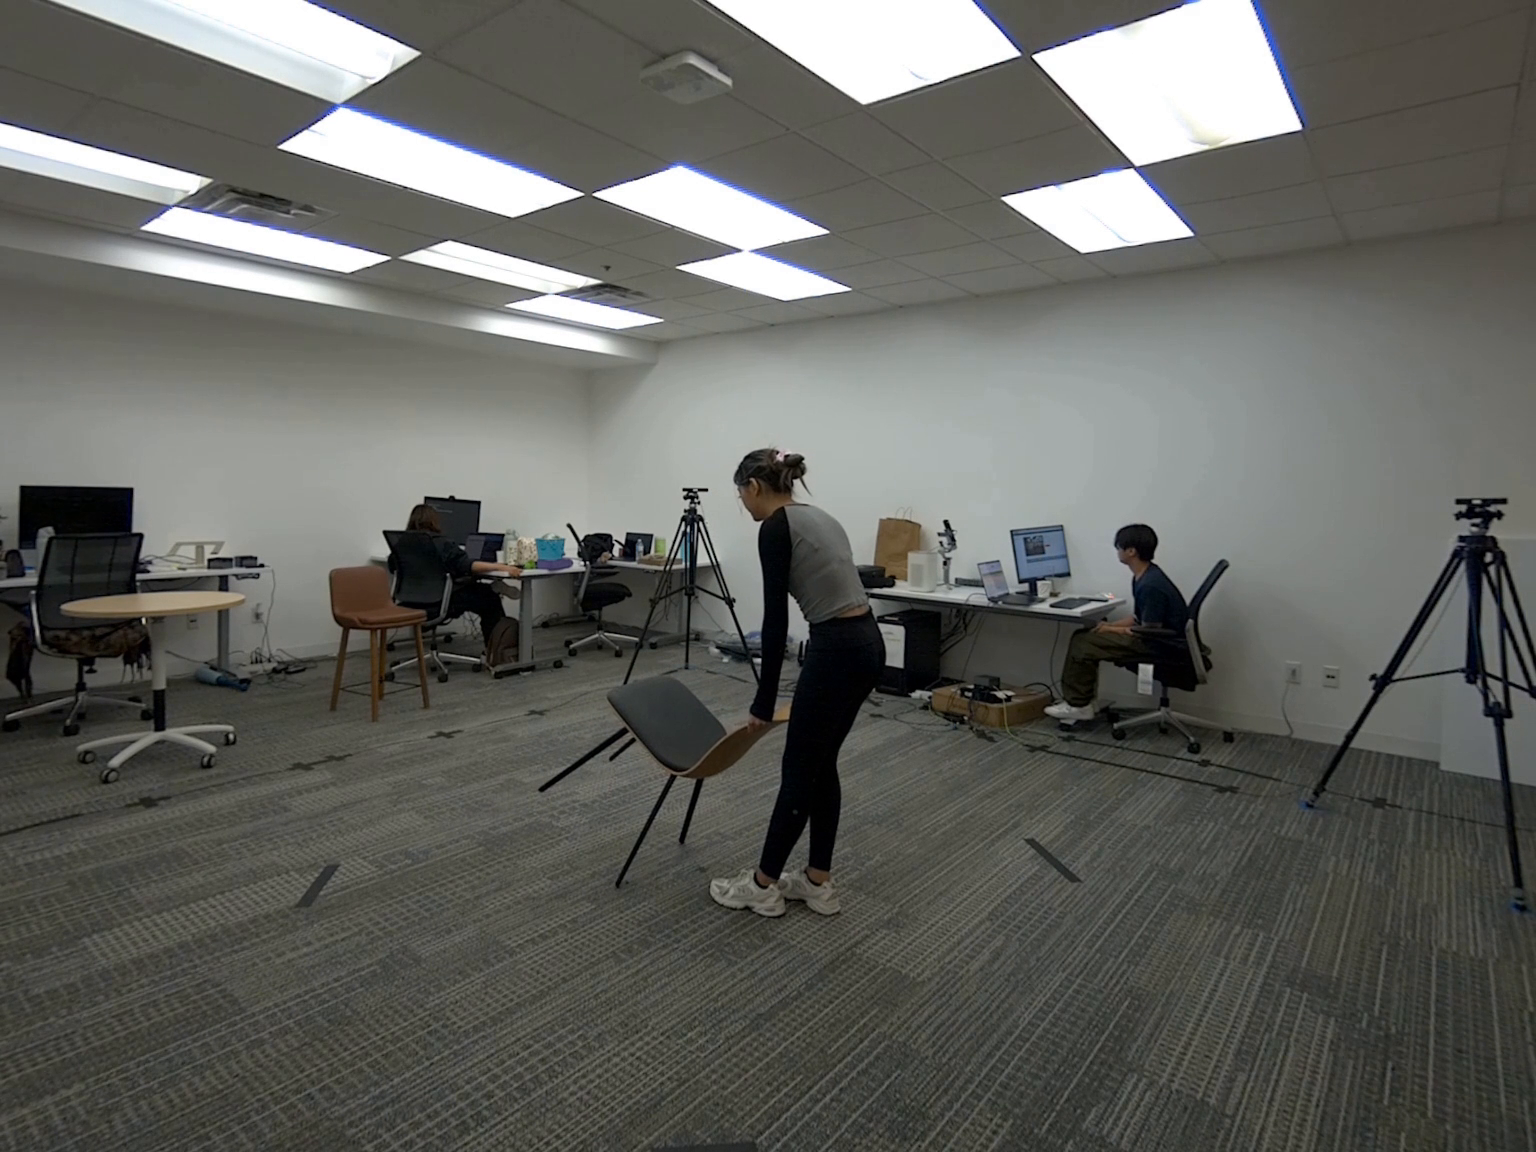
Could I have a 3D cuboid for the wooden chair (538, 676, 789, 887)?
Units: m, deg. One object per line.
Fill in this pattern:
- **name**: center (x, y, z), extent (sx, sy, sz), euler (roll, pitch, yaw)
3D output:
- **wooden chair**: center (-0.355, 0.590, 3.082), extent (0.537, 0.876, 0.466), euler (48, 22, 17)
